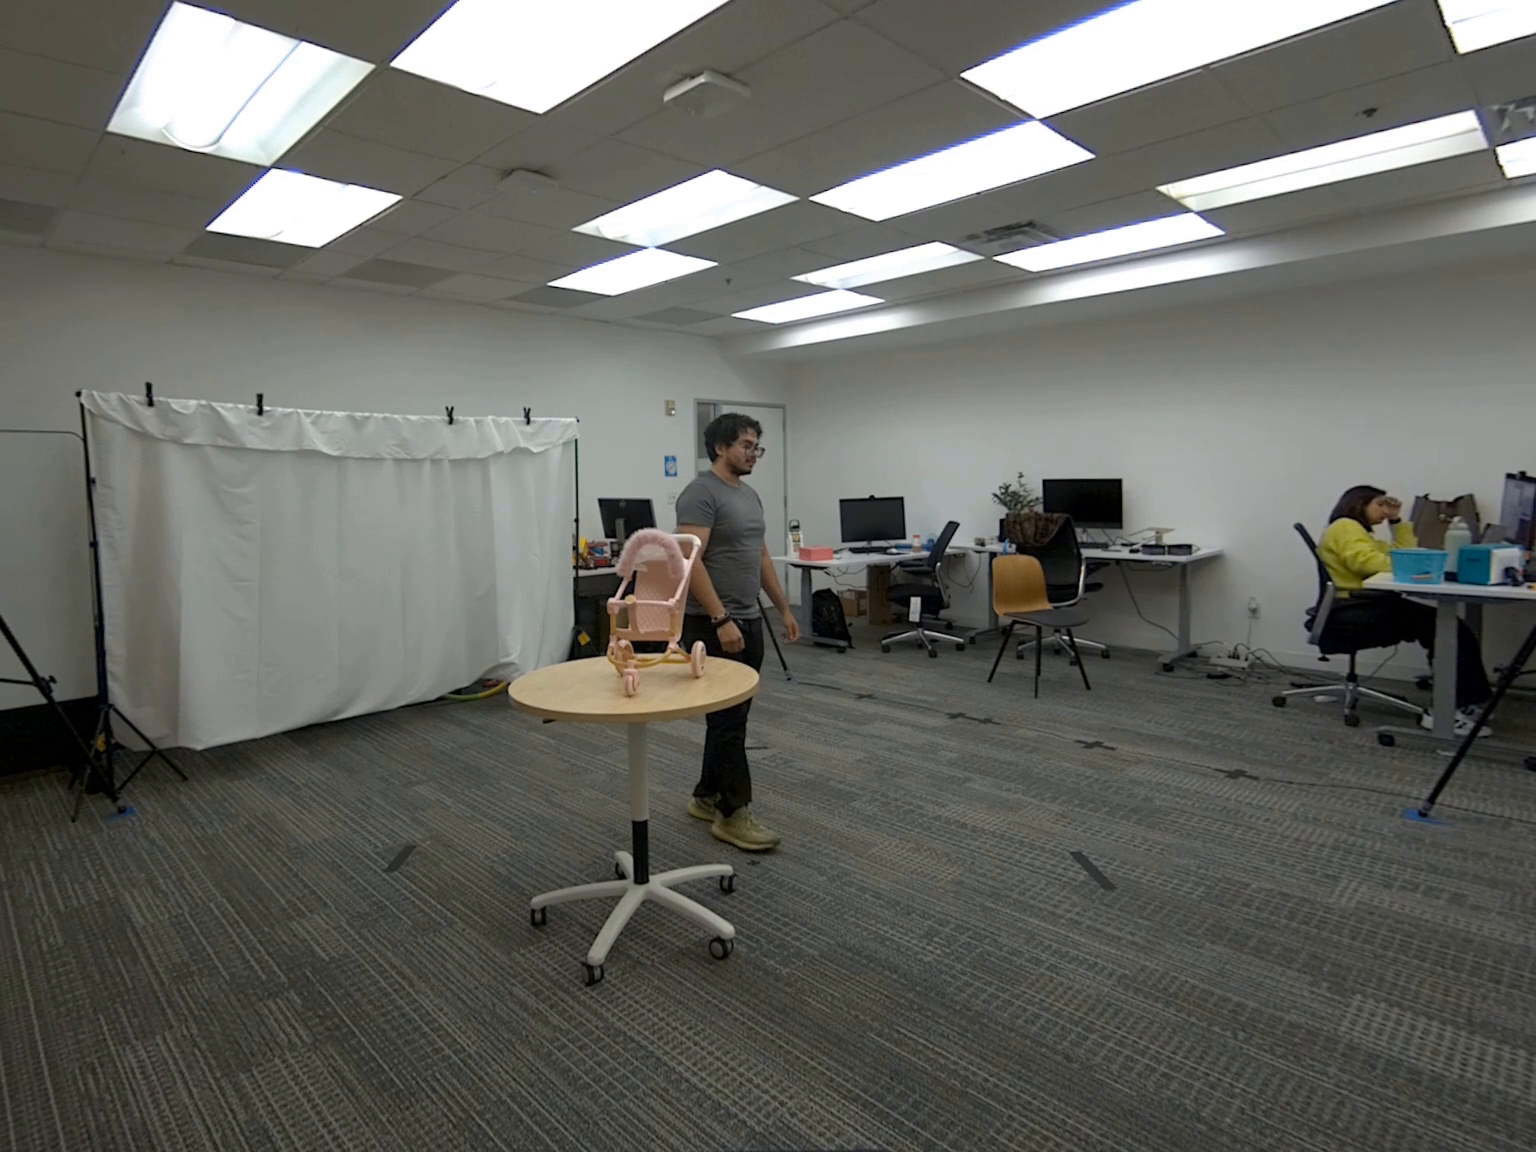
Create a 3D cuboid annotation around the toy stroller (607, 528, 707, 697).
[{"bbox_3d":[-0.358,0.100,2.604,0.286,0.540,0.332,0,-11,17],"label":"toy stroller"}]
